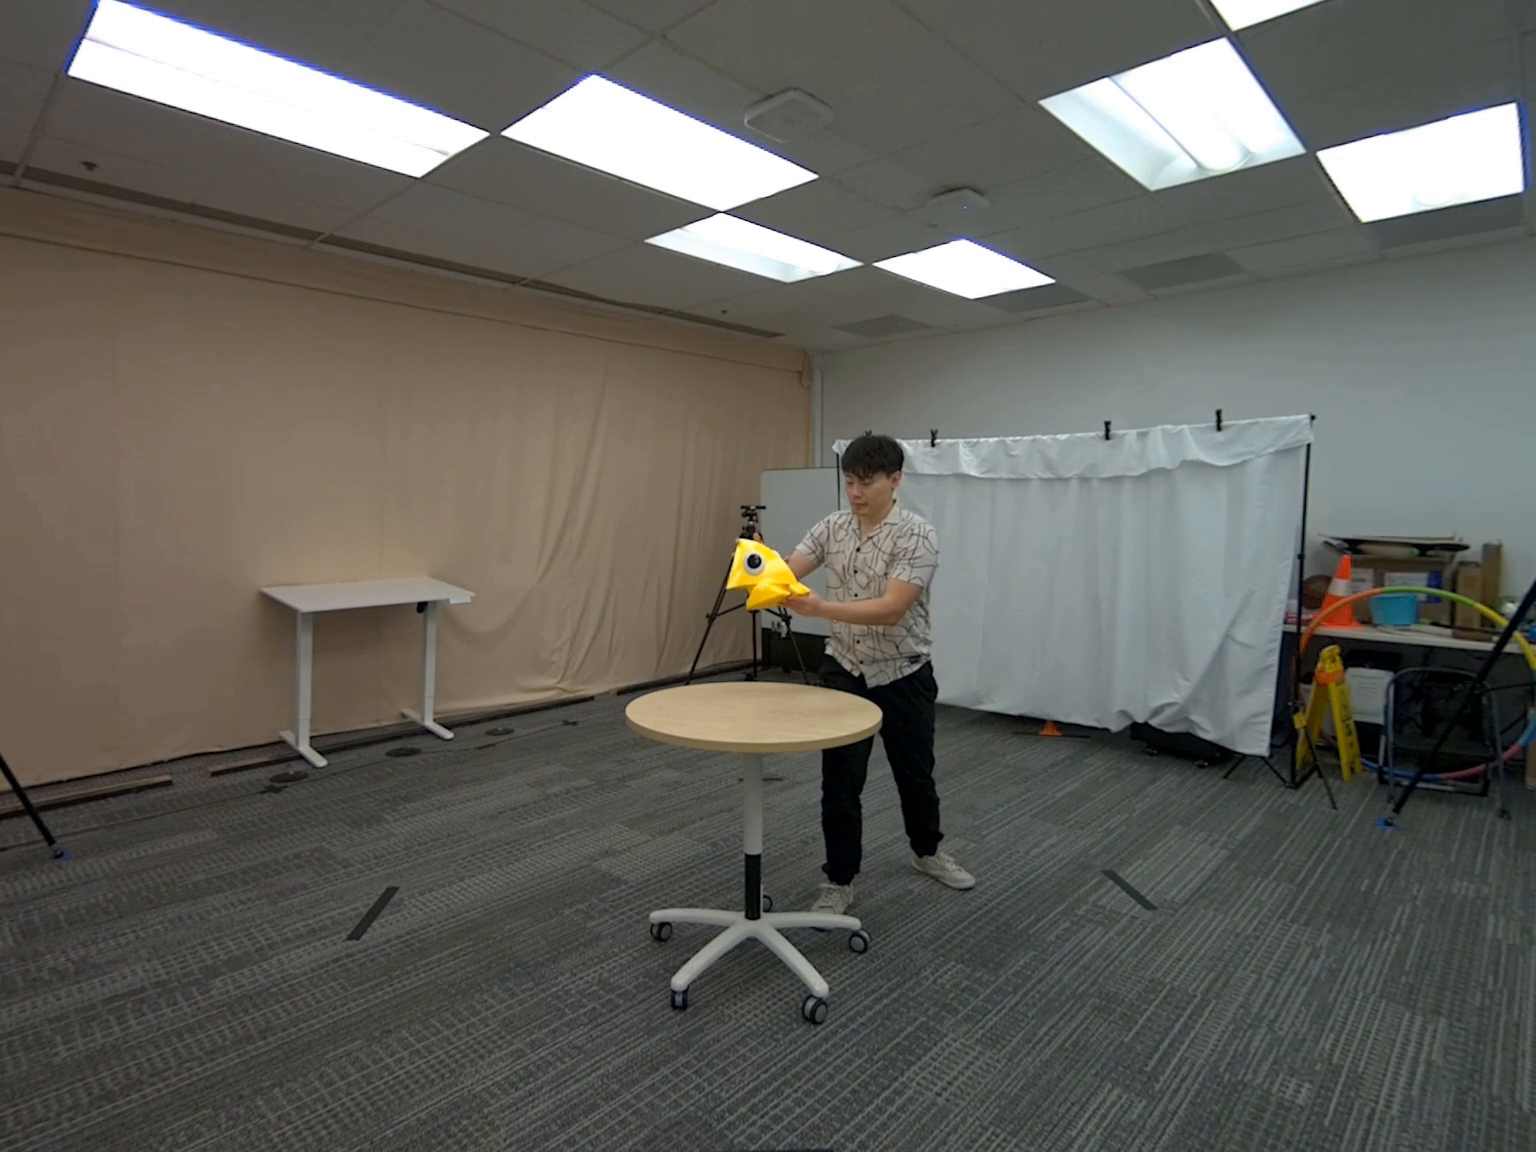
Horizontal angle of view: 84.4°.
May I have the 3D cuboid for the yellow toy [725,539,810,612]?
[{"bbox_3d":[-0.002,-0.029,2.604,0.197,0.233,0.198,-24,-14,34],"label":"yellow toy"}]
